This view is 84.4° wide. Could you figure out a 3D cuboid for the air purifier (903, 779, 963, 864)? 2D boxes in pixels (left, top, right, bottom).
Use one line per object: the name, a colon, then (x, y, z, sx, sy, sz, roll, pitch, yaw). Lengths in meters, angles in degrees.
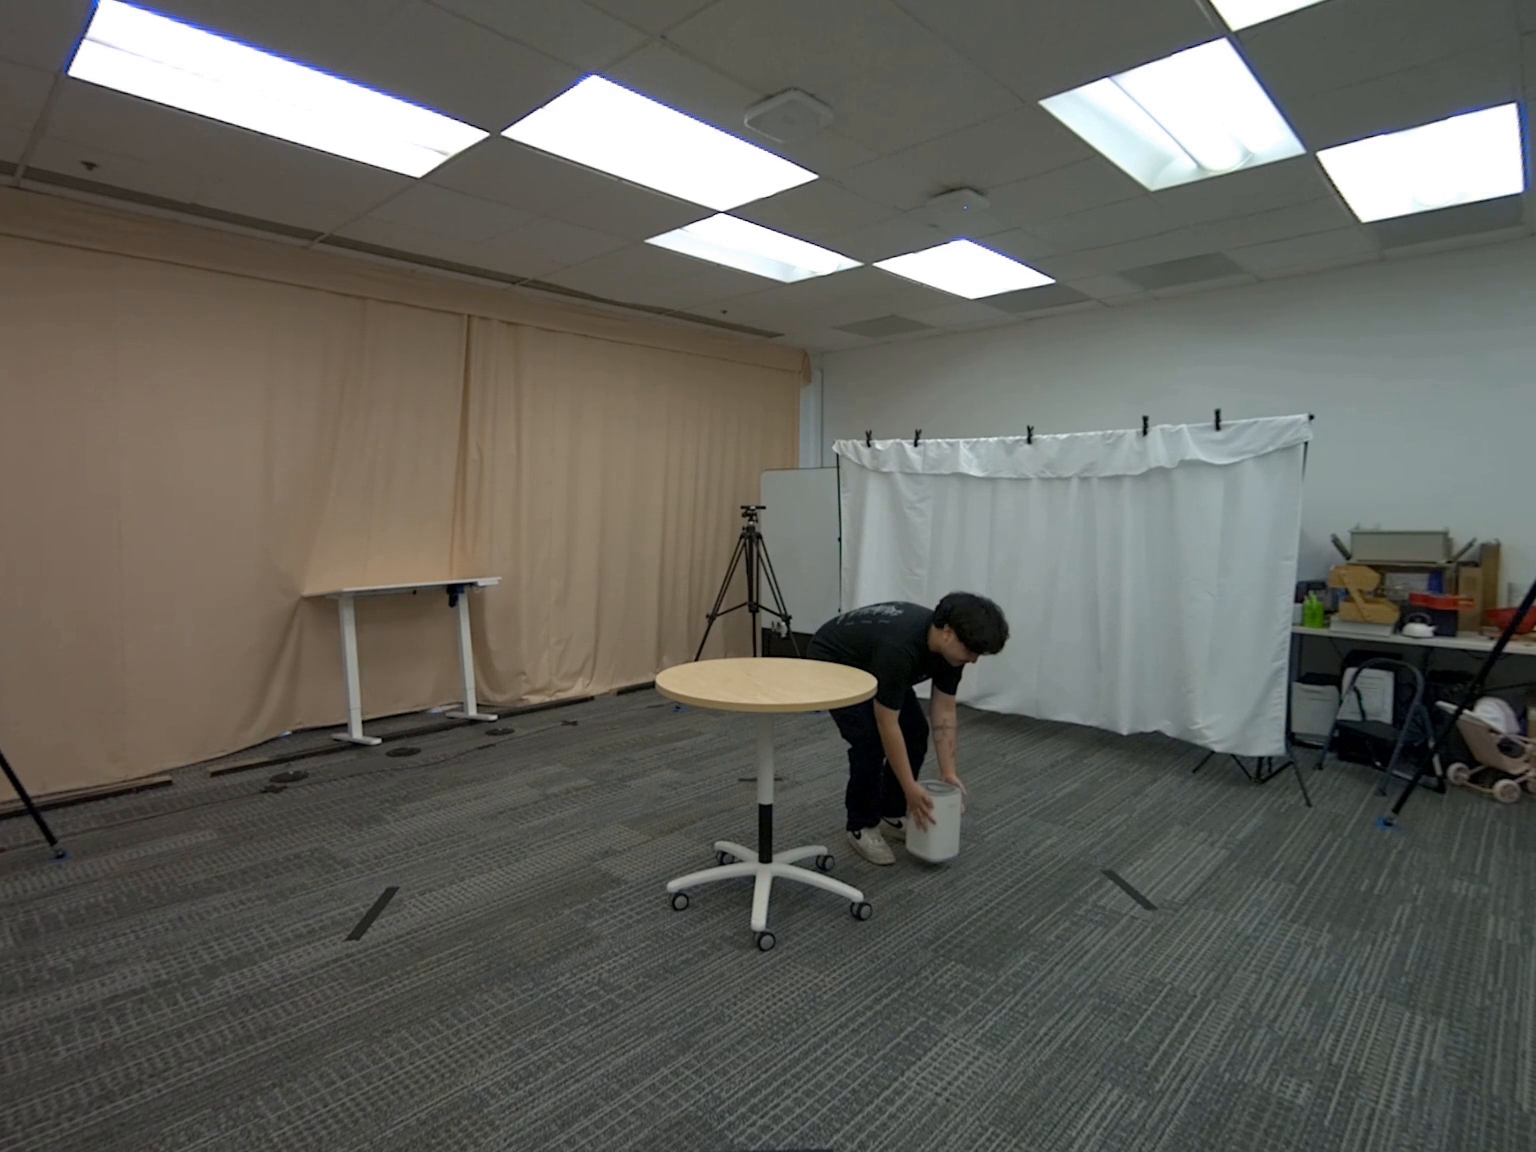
air purifier: (0.639, 0.934, 3.252, 0.166, 0.265, 0.177, -1, 5, -37)
